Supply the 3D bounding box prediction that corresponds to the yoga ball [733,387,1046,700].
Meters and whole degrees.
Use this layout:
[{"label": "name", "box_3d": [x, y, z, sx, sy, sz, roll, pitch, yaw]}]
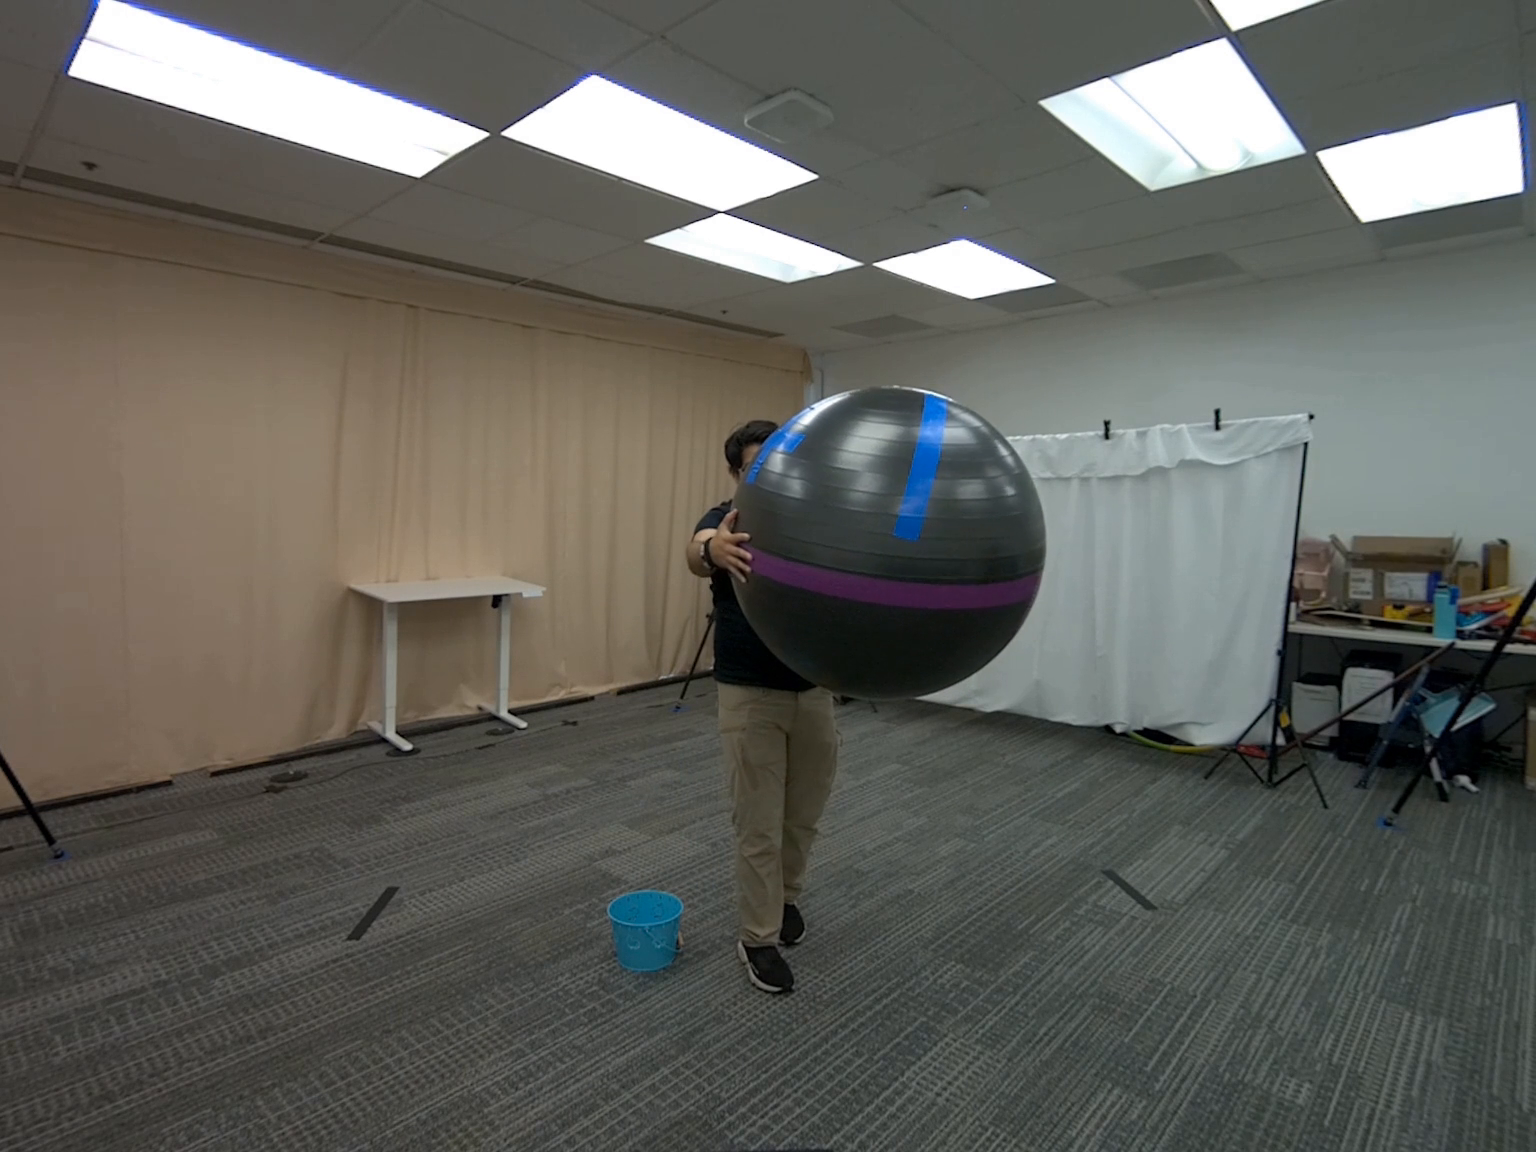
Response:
[{"label": "yoga ball", "box_3d": [0.289, -0.069, 2.054, 0.757, 0.756, 0.760, 0, 4, -2]}]
